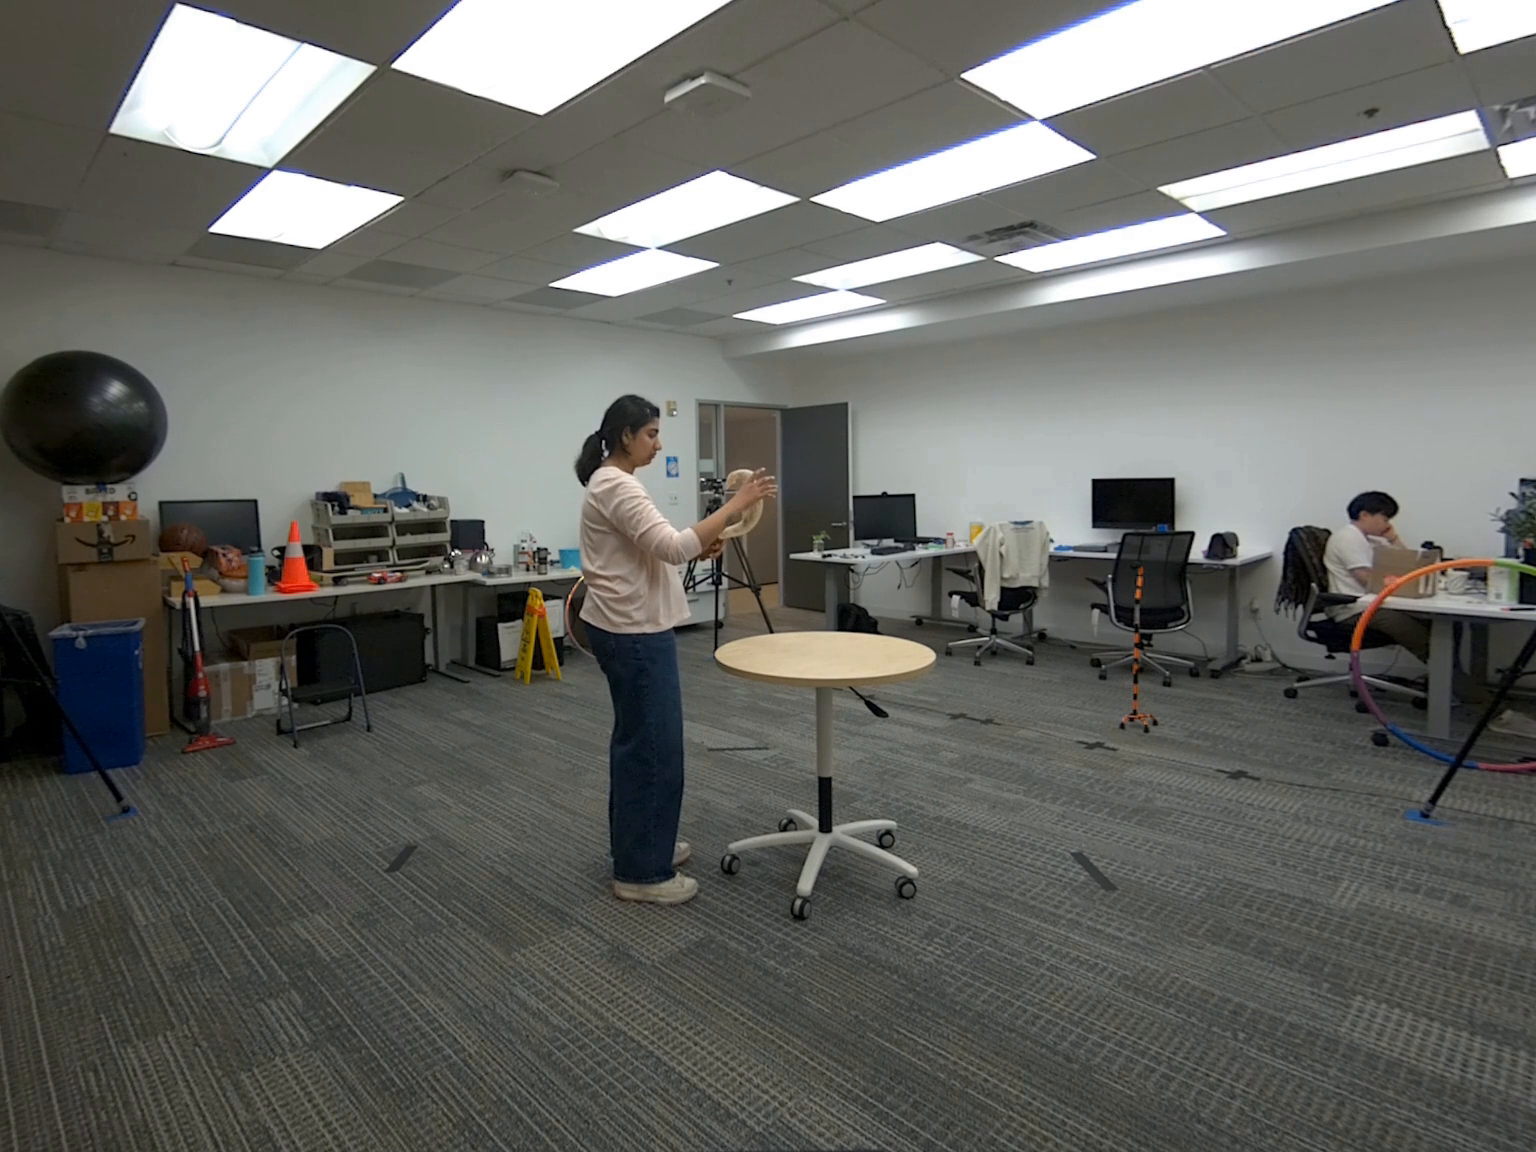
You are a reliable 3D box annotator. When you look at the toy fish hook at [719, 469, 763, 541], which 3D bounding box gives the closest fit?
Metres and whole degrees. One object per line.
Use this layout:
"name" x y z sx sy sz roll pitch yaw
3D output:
"toy fish hook" -0.156 -0.209 3.060 0.047 0.230 0.509 6 -26 -32
